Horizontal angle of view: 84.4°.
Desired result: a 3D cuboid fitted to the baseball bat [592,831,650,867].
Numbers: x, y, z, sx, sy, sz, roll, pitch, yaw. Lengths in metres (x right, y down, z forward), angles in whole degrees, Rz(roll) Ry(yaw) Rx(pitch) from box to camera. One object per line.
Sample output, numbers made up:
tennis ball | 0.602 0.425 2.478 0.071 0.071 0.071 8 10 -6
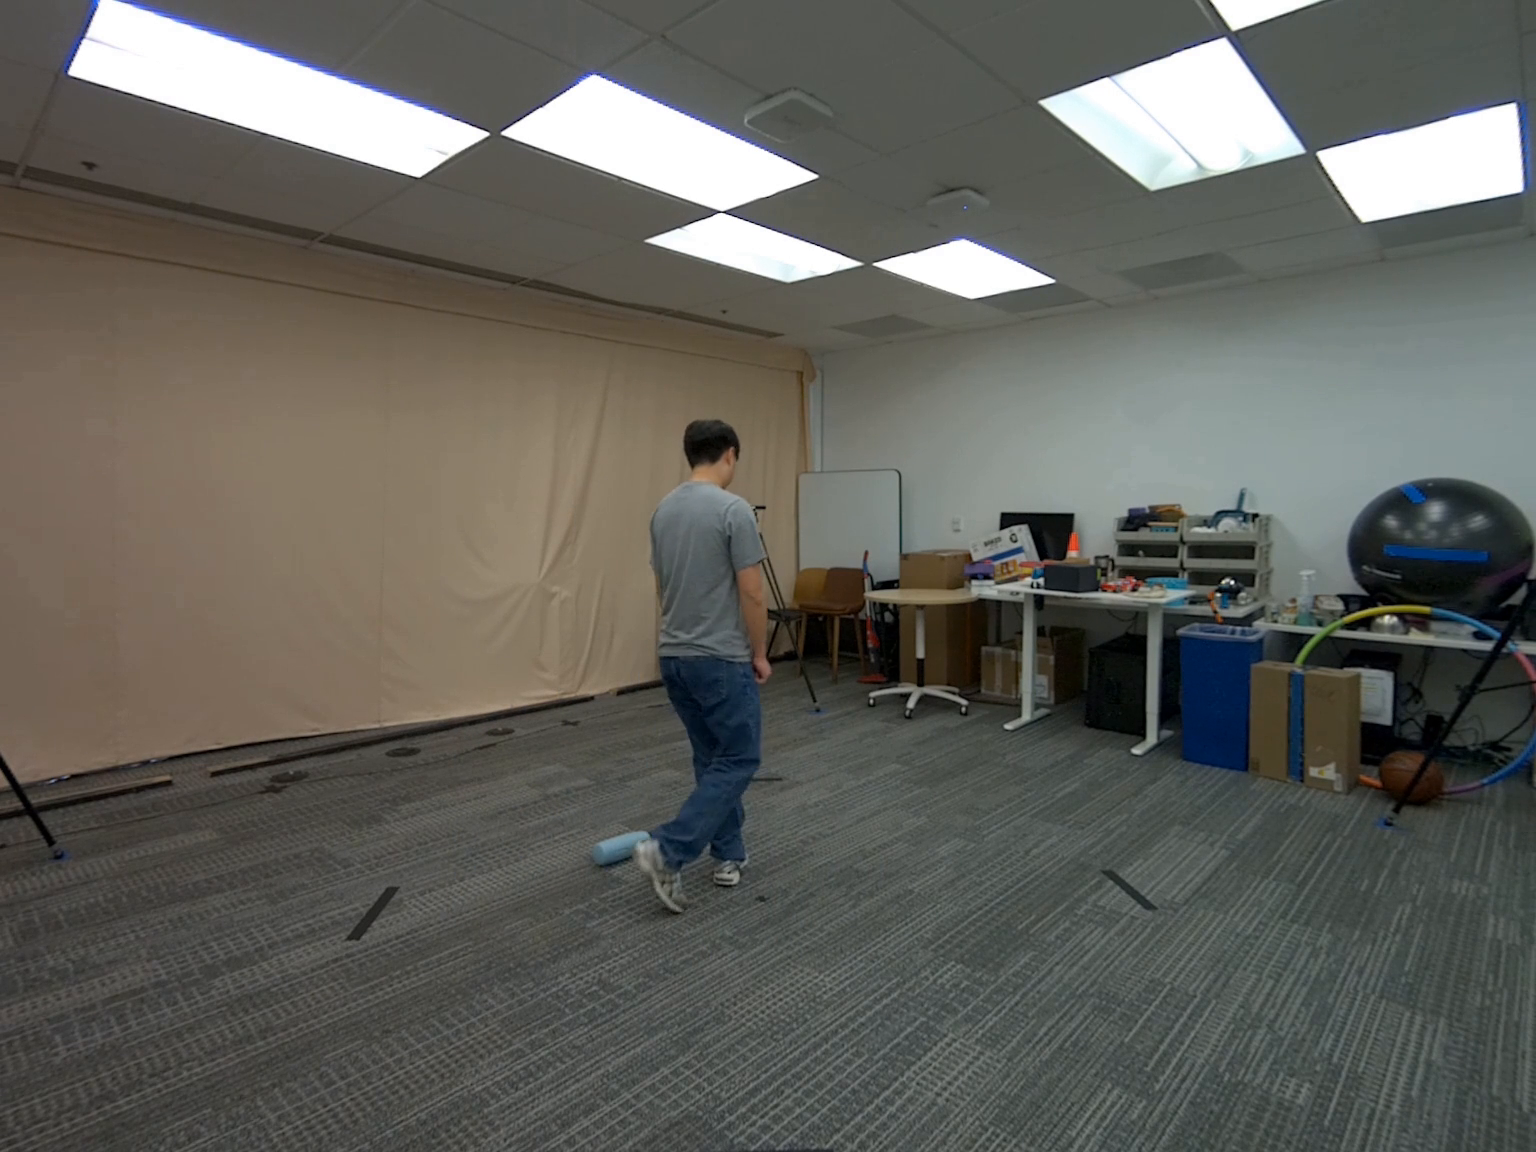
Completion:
baseball bat | -0.487 1.075 3.438 0.092 0.089 0.525 3 2 42
